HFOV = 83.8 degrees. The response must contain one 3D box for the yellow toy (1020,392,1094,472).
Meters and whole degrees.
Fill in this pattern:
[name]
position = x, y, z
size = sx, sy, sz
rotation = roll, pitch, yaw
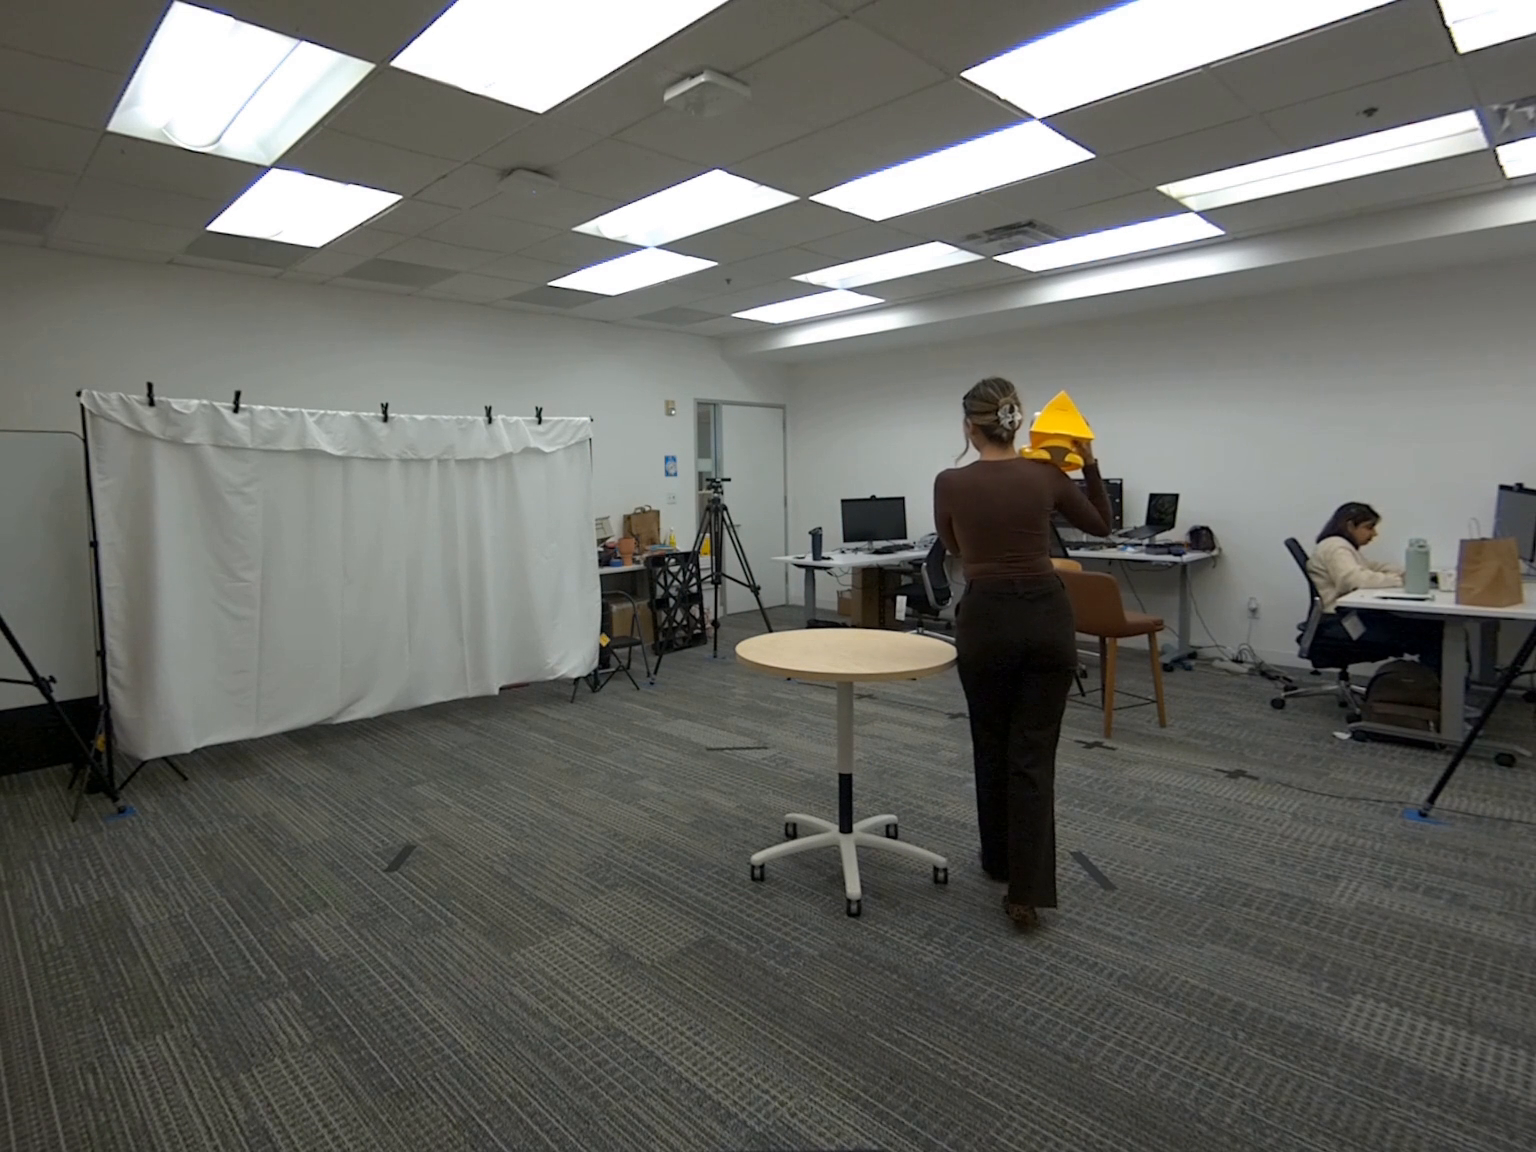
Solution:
[yellow toy]
position = 0.925, -0.474, 2.776
size = 0.205, 0.232, 0.192
rotation = 8, -6, 1
